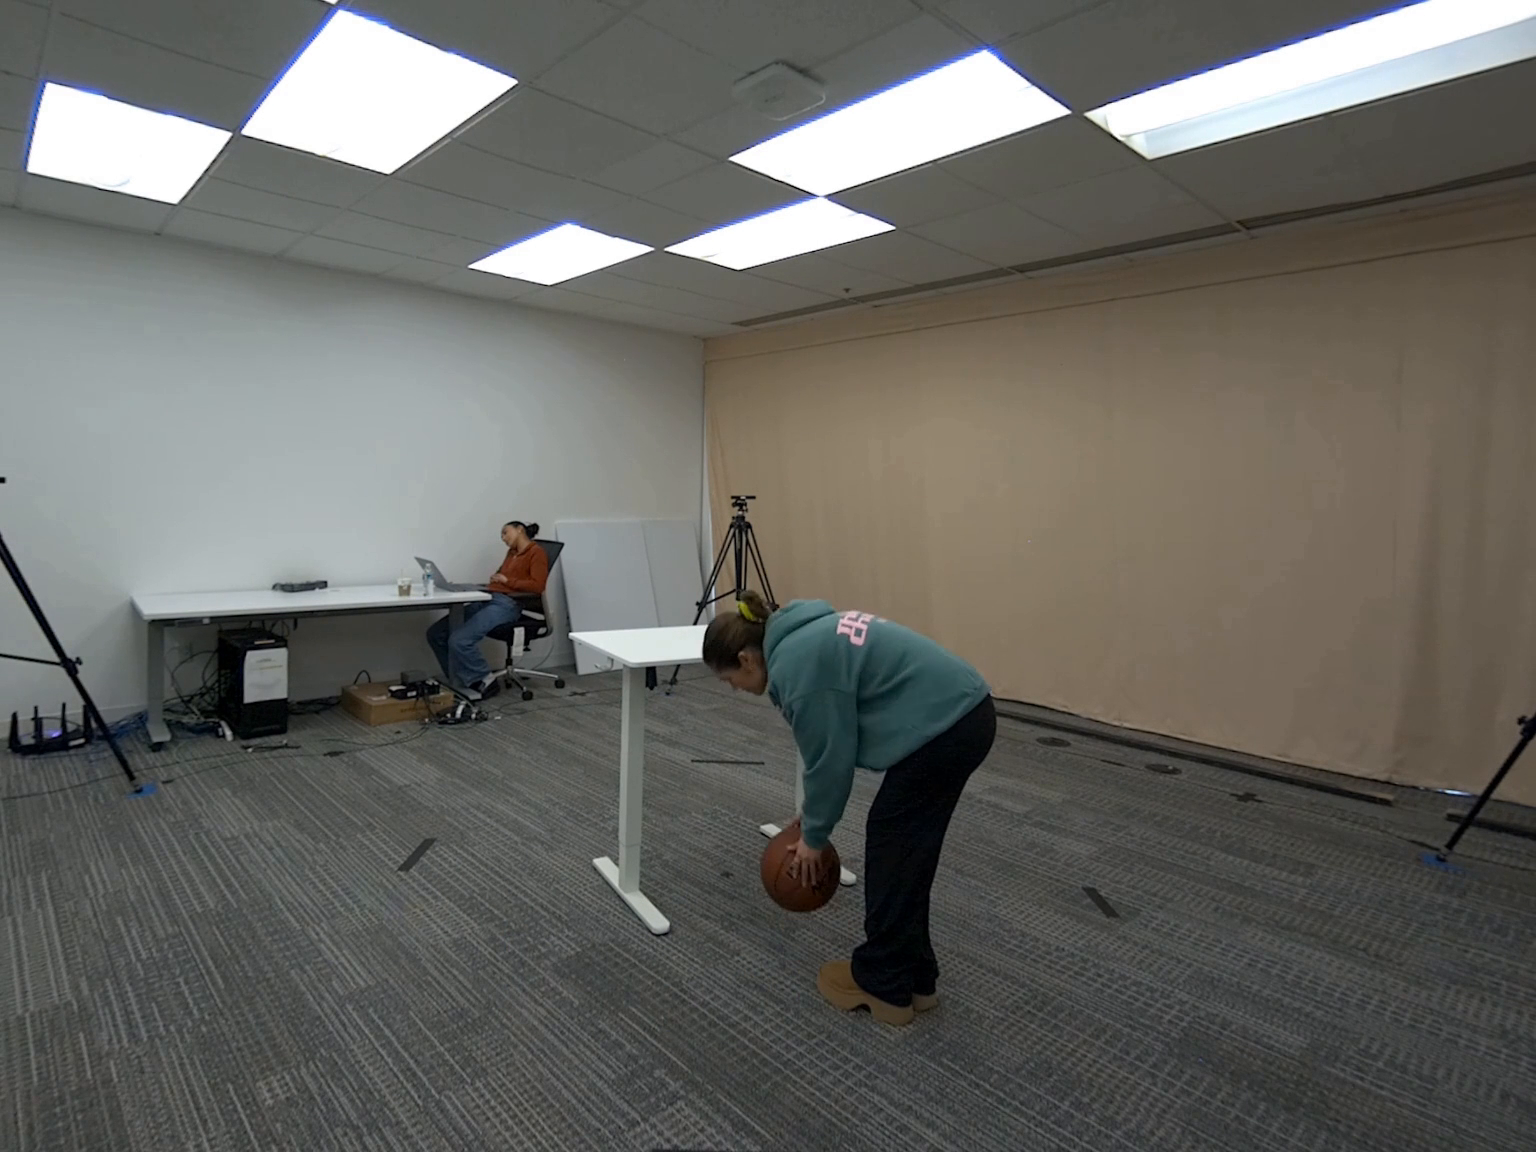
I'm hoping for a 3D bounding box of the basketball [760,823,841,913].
[{"bbox_3d":[0.085,0.840,2.458,0.236,0.235,0.237,1,4,-1],"label":"basketball"}]
